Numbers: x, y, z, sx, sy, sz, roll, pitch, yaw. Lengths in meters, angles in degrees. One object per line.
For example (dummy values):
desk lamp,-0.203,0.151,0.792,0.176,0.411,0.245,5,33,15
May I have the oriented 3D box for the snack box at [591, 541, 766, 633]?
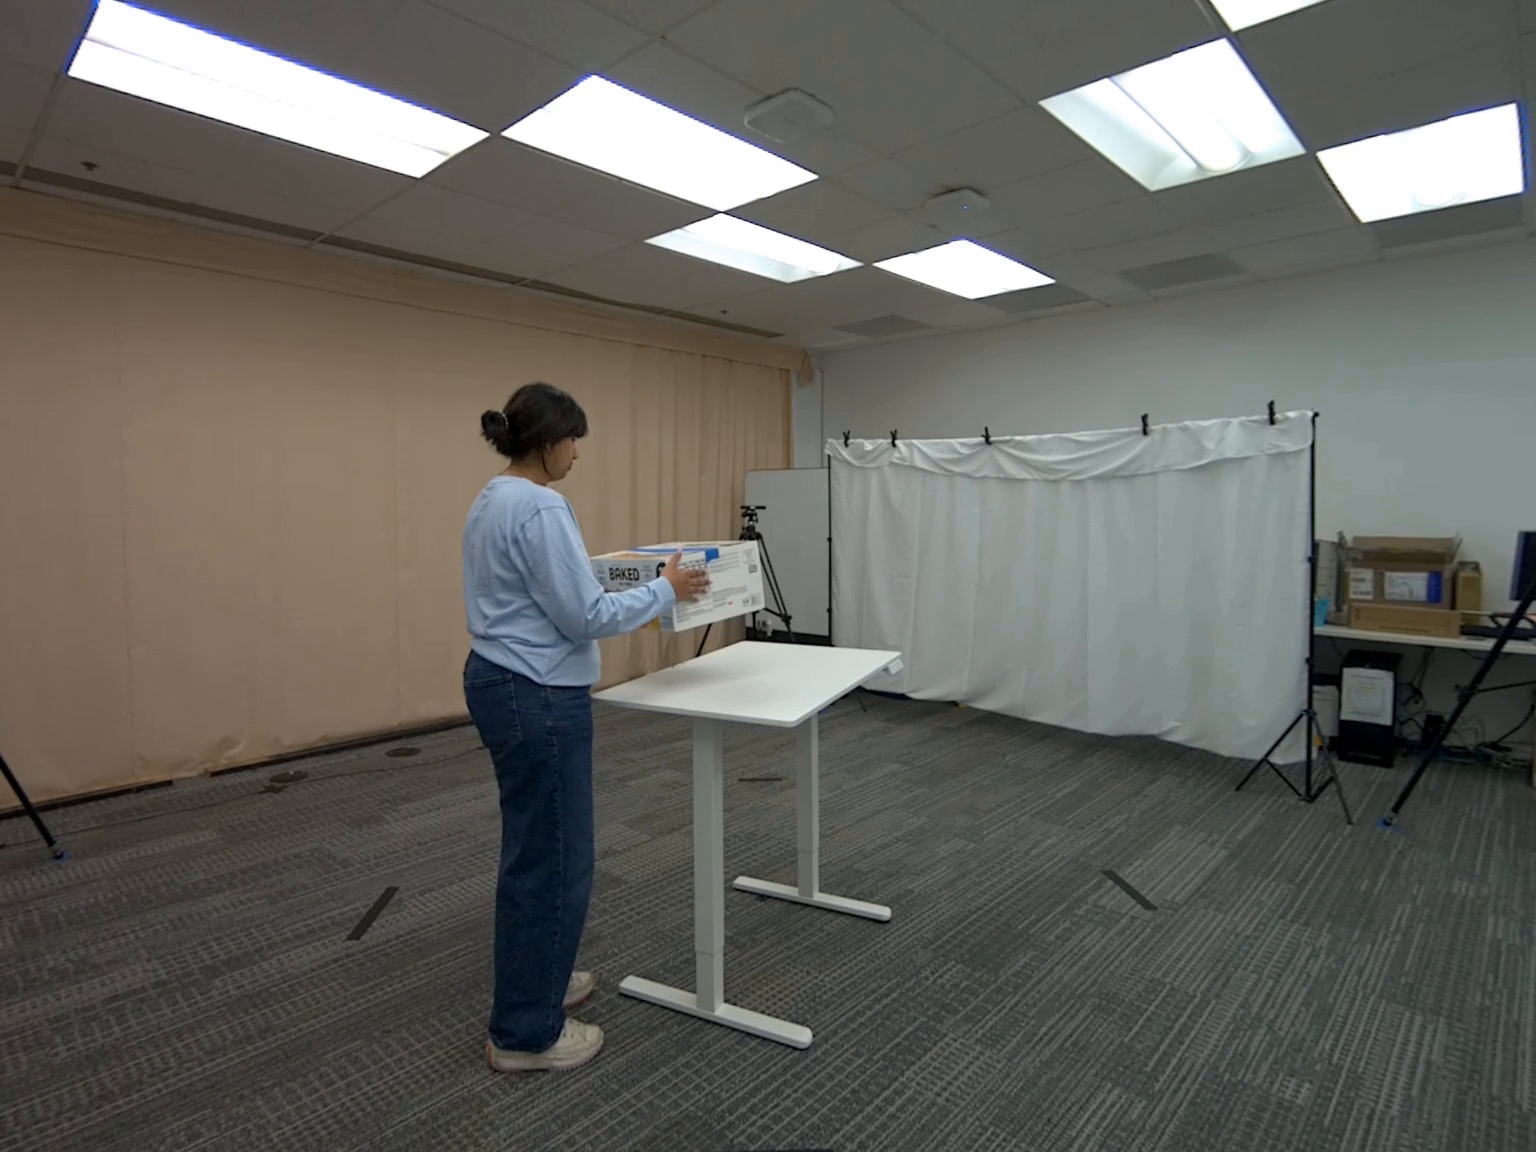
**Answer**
snack box,-0.275,0.024,2.488,0.331,0.205,0.418,-13,9,-41
